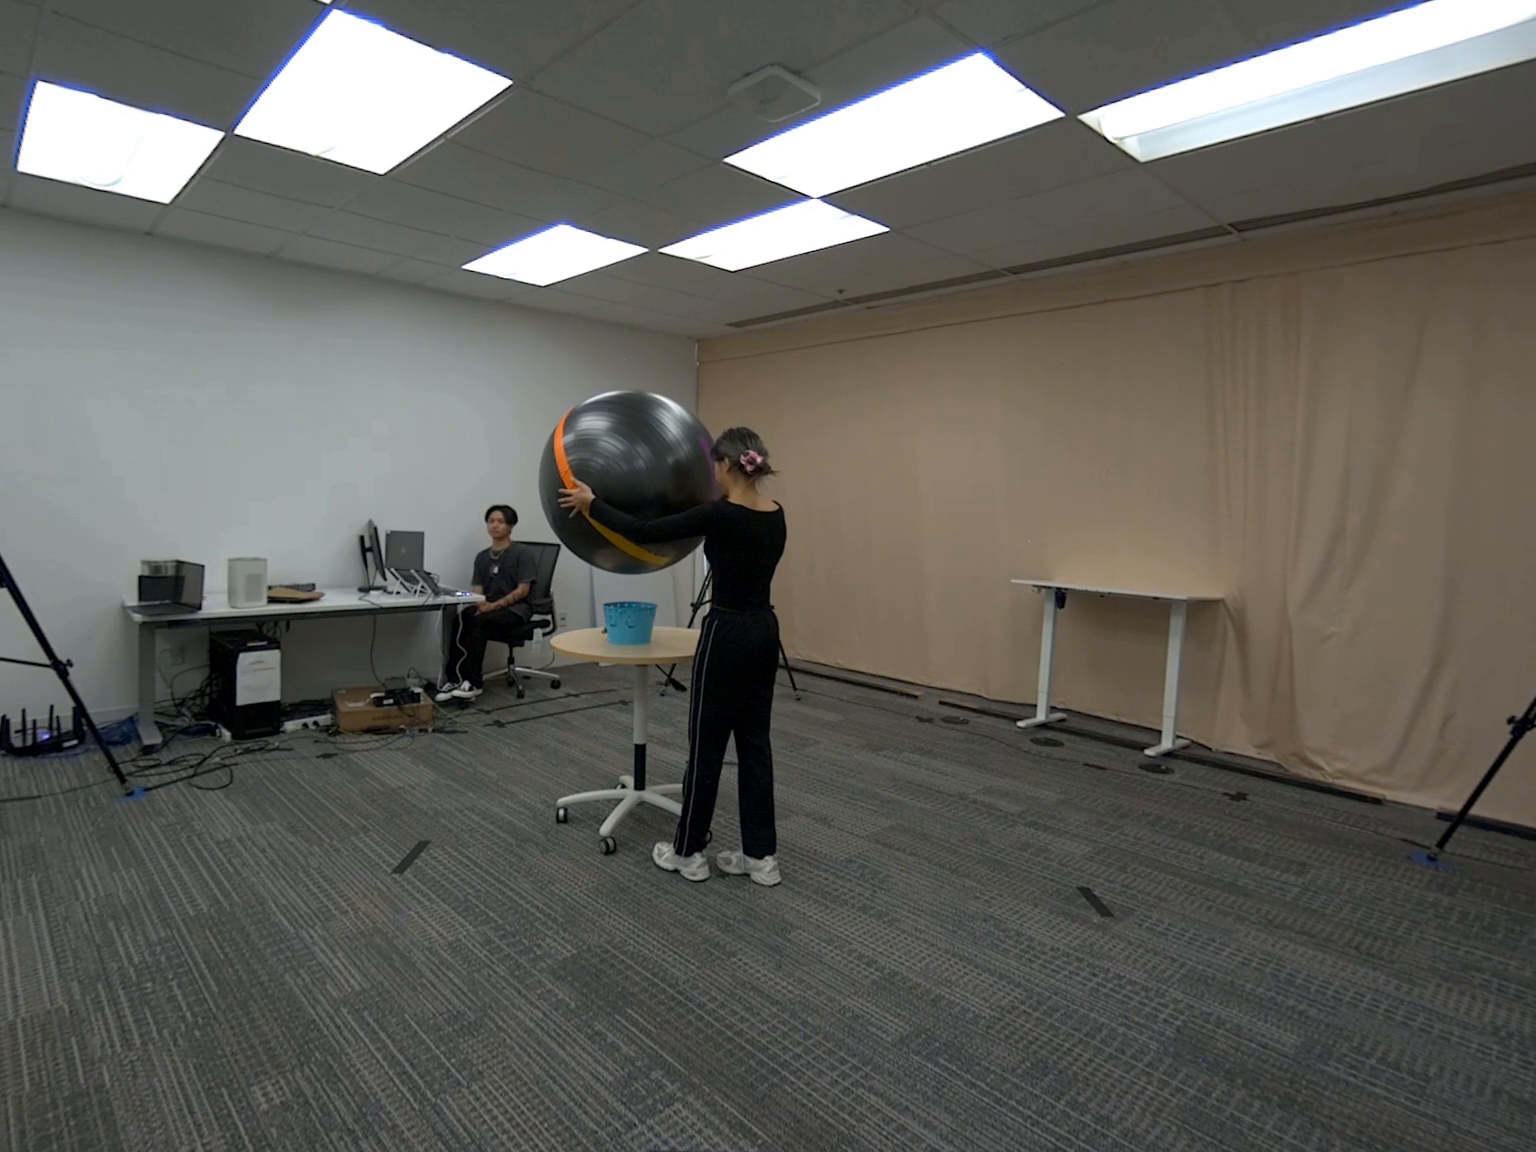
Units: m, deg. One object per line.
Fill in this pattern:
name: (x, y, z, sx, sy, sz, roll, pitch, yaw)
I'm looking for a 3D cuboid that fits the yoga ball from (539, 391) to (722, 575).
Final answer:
yoga ball: (-0.569, -0.384, 3.488, 0.757, 0.756, 0.761, 1, 4, -1)
